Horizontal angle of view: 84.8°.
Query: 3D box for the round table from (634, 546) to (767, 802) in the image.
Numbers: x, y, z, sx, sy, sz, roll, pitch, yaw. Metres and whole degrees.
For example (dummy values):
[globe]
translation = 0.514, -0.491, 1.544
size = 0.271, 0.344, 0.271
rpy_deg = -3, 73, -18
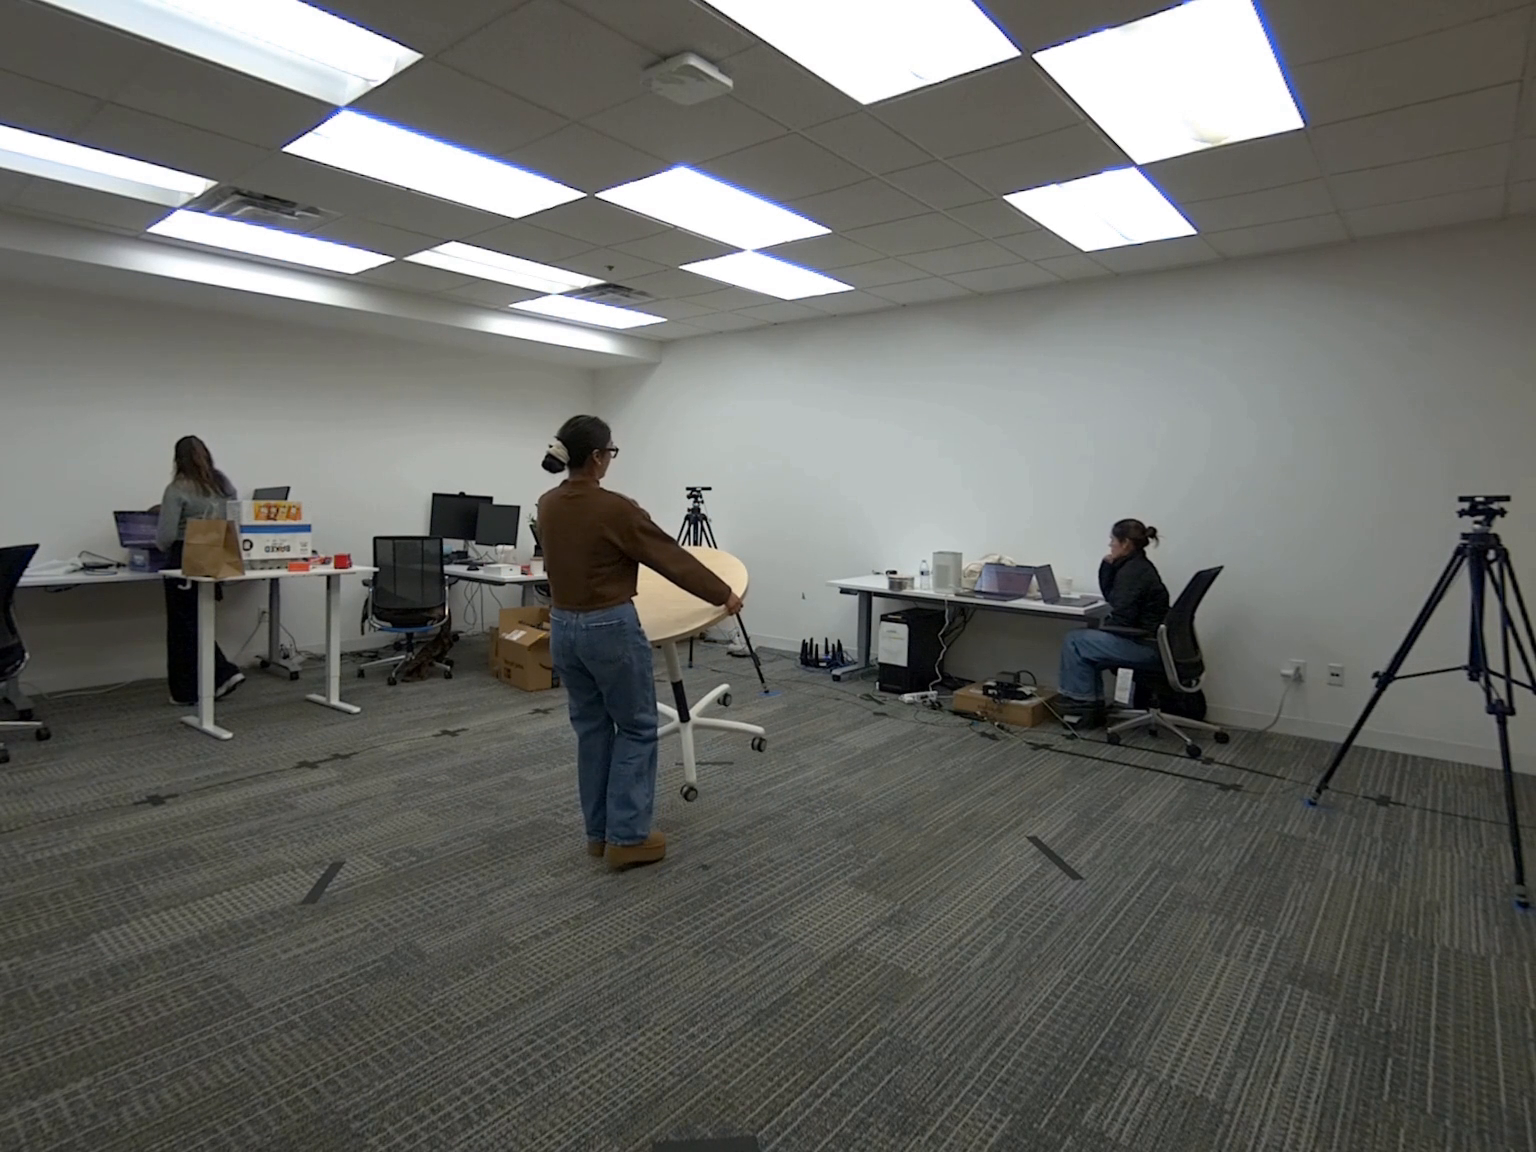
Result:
[round table]
translation = -0.414, 0.402, 3.652
size = 0.787, 0.766, 0.804
rpy_deg = -7, 27, 2
